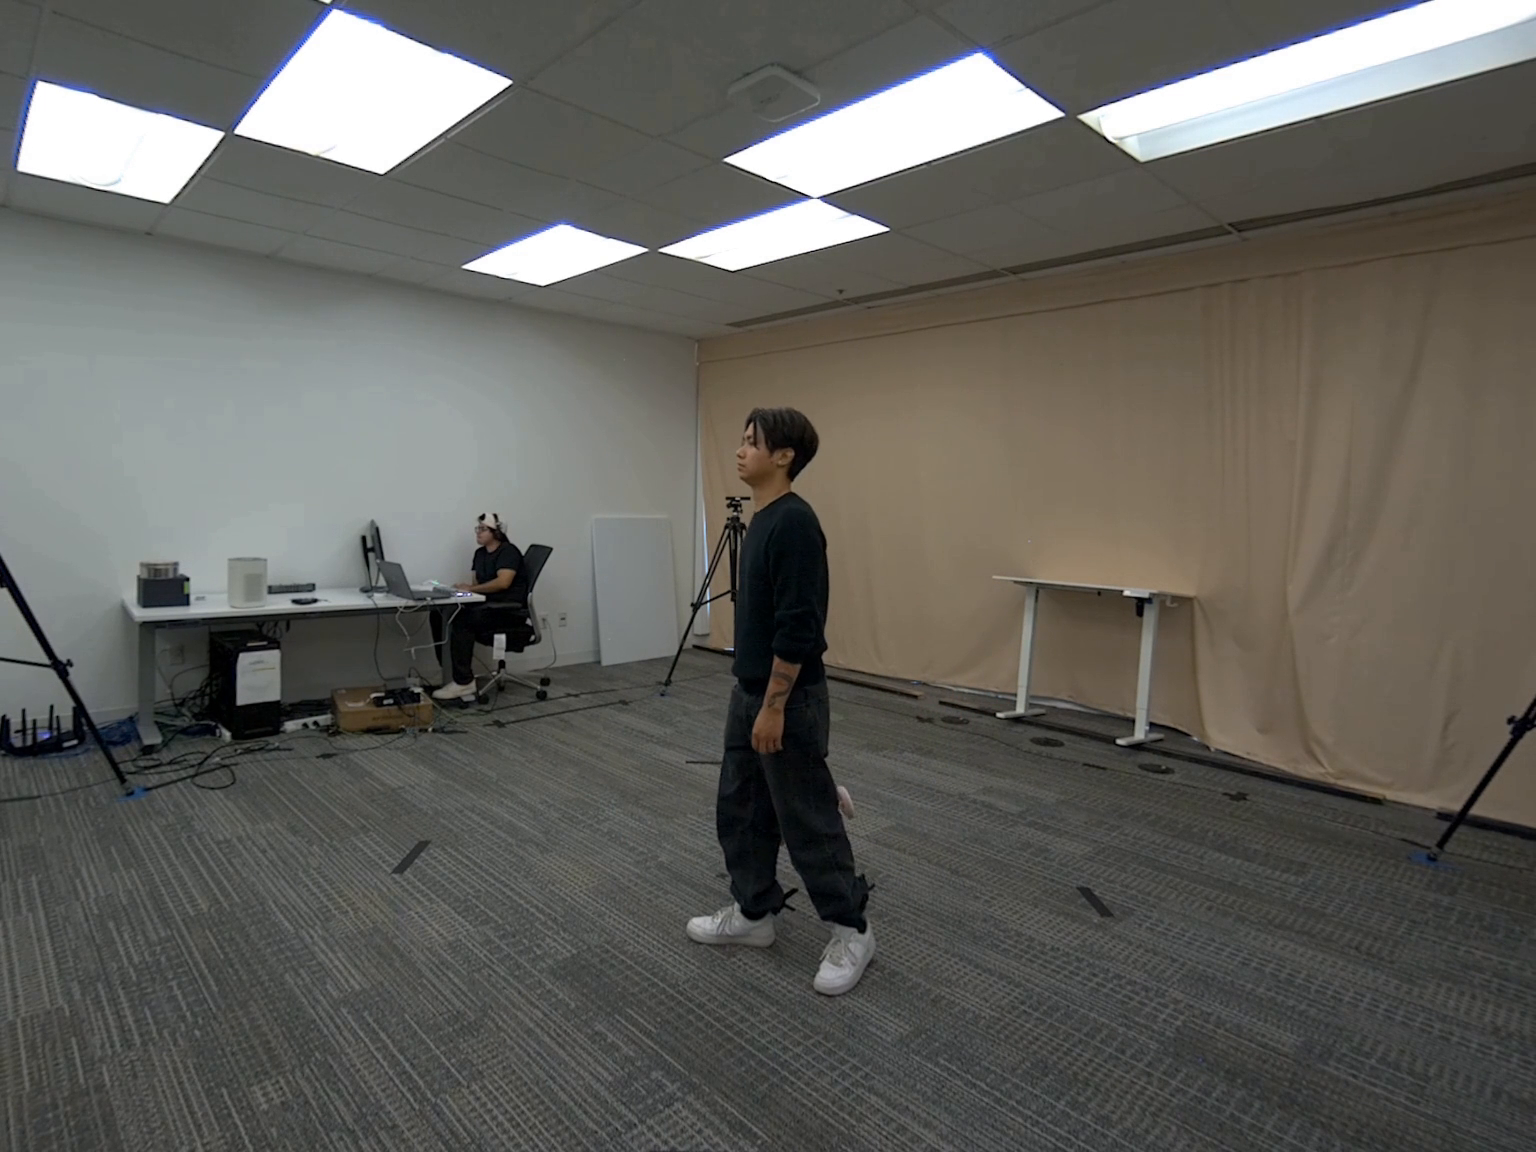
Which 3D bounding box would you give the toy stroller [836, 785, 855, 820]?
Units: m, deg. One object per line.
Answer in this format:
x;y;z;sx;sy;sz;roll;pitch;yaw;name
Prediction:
0.073;0.687;2.932;0.280;0.544;0.337;-18;-17;-9;toy stroller
